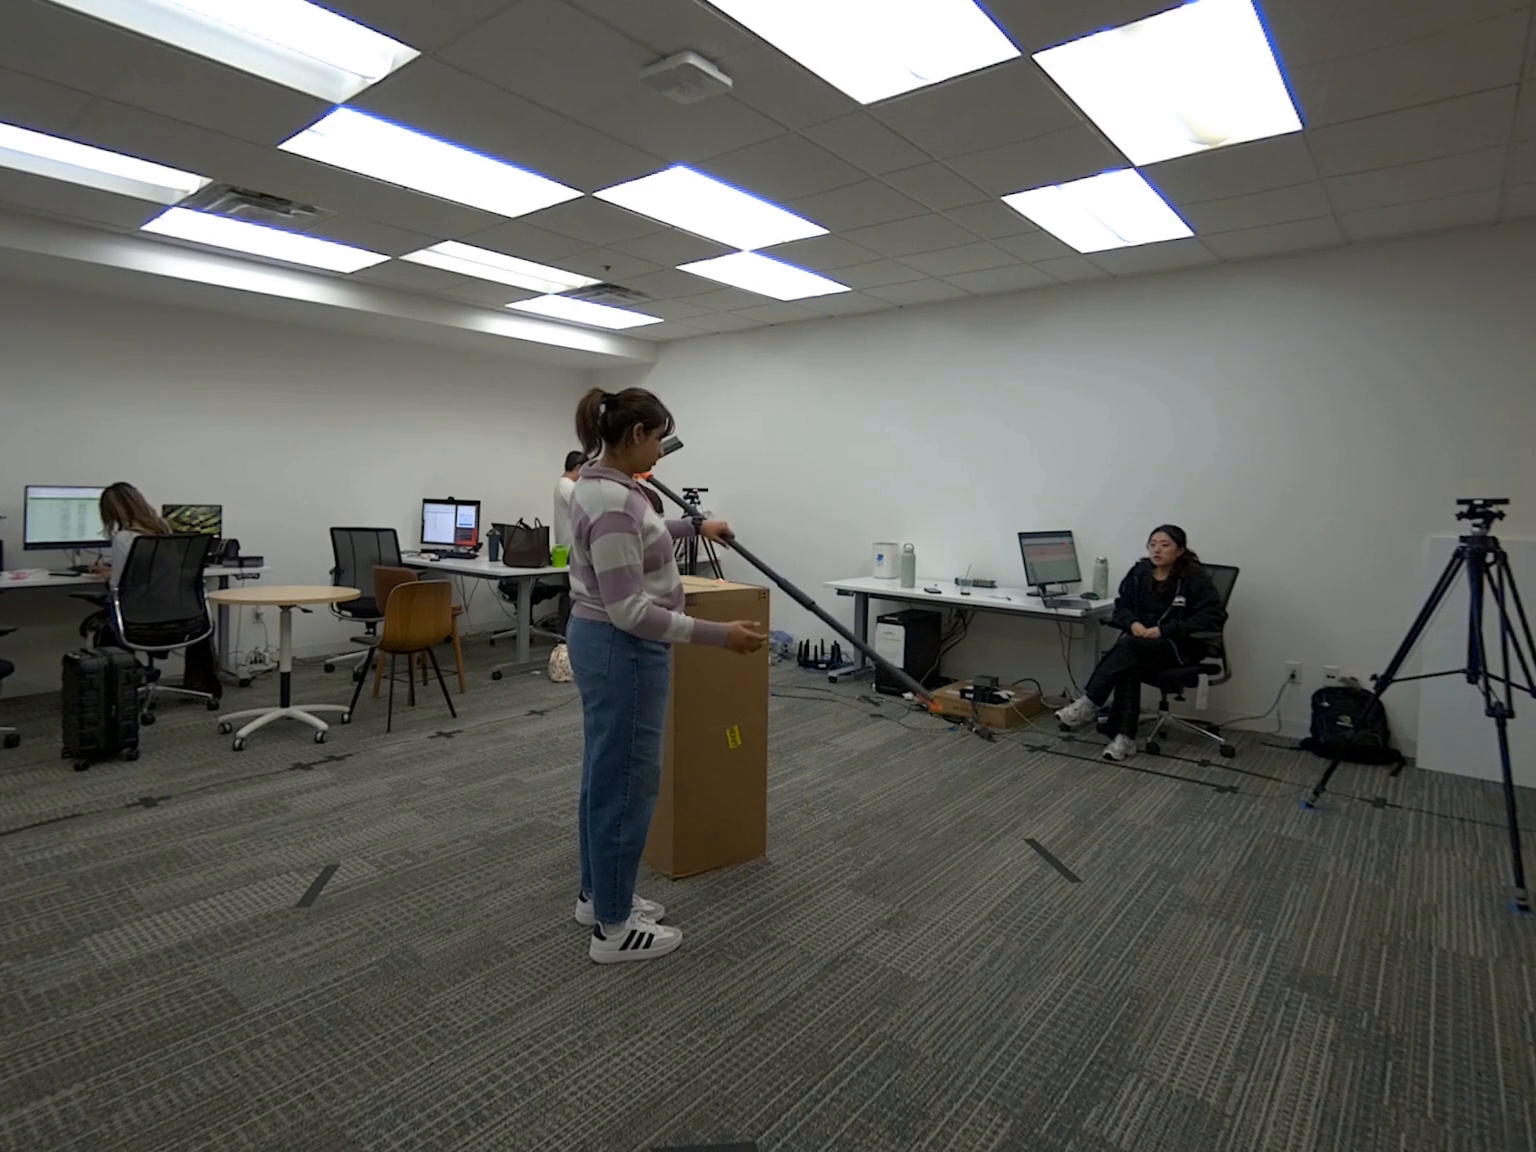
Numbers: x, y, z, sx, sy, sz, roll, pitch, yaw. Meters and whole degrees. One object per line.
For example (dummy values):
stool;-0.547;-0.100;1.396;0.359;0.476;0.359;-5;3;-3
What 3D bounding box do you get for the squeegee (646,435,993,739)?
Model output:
squeegee;0.002;-0.022;2.761;0.432;0.051;1.603;-28;46;-27
